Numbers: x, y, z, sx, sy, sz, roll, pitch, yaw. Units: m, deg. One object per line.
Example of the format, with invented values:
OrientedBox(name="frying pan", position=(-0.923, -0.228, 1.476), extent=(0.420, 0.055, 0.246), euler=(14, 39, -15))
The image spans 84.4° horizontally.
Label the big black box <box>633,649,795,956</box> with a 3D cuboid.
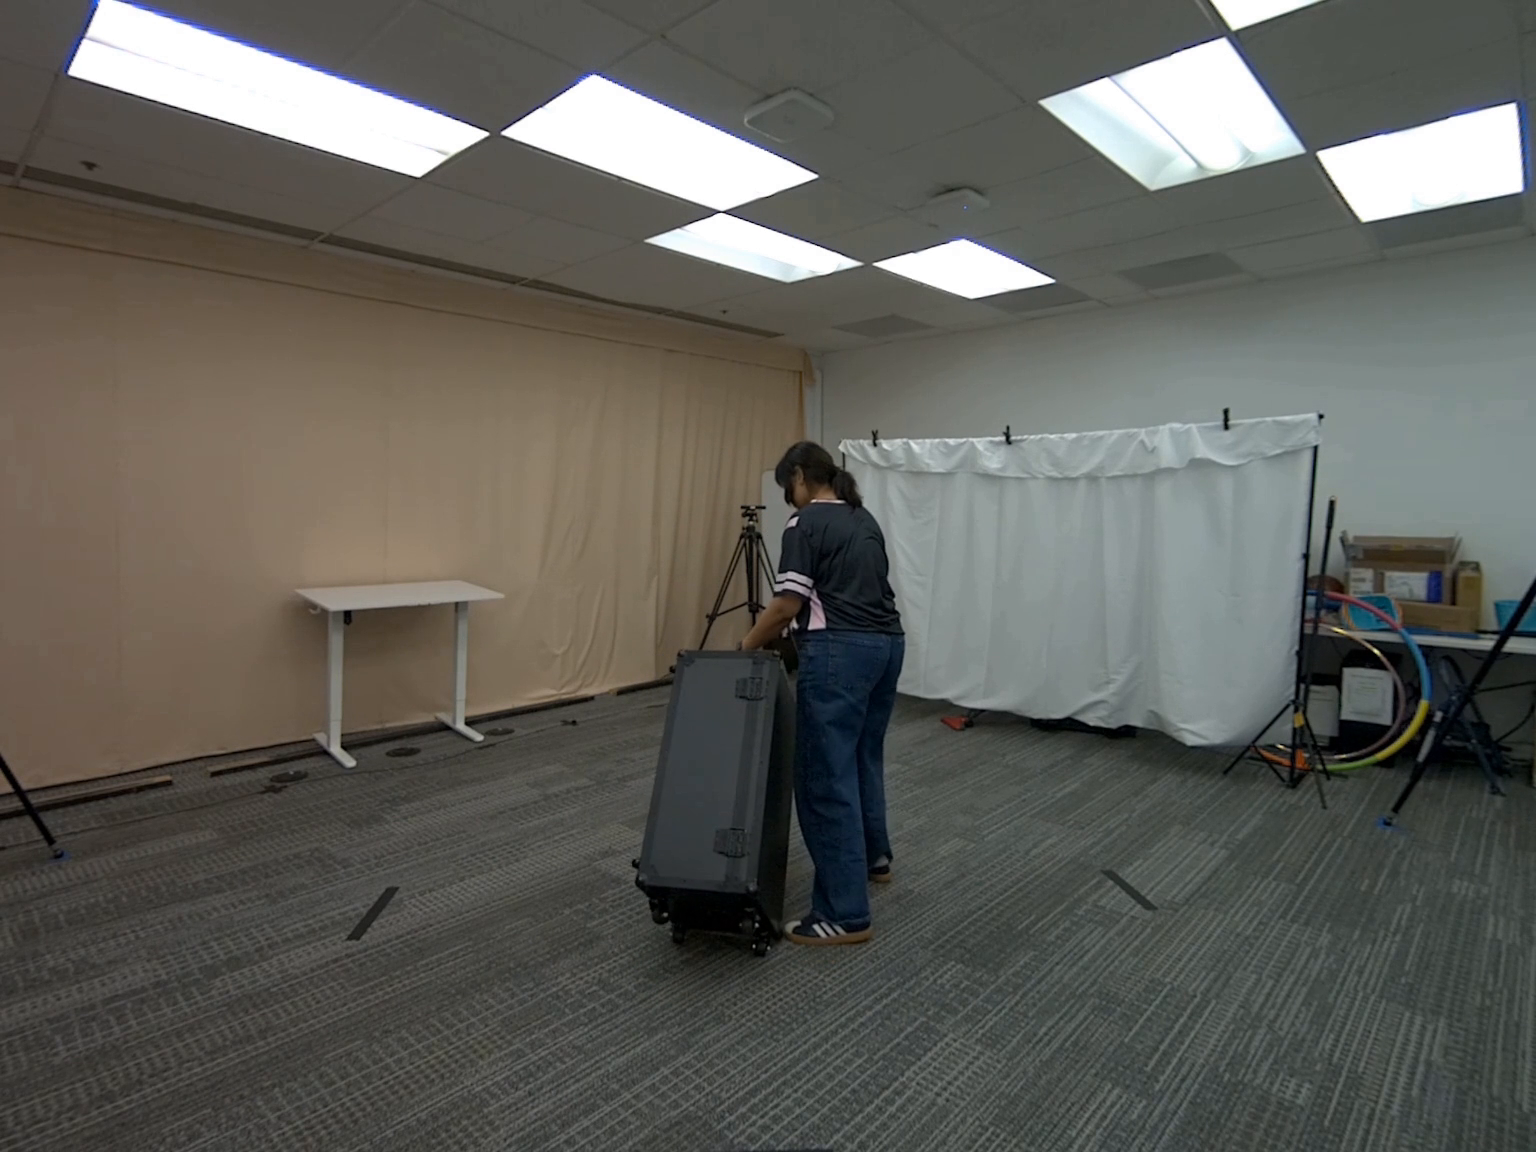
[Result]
OrientedBox(name="big black box", position=(-0.139, 0.733, 2.760), extent=(0.390, 0.879, 0.510), euler=(0, -37, 11))
